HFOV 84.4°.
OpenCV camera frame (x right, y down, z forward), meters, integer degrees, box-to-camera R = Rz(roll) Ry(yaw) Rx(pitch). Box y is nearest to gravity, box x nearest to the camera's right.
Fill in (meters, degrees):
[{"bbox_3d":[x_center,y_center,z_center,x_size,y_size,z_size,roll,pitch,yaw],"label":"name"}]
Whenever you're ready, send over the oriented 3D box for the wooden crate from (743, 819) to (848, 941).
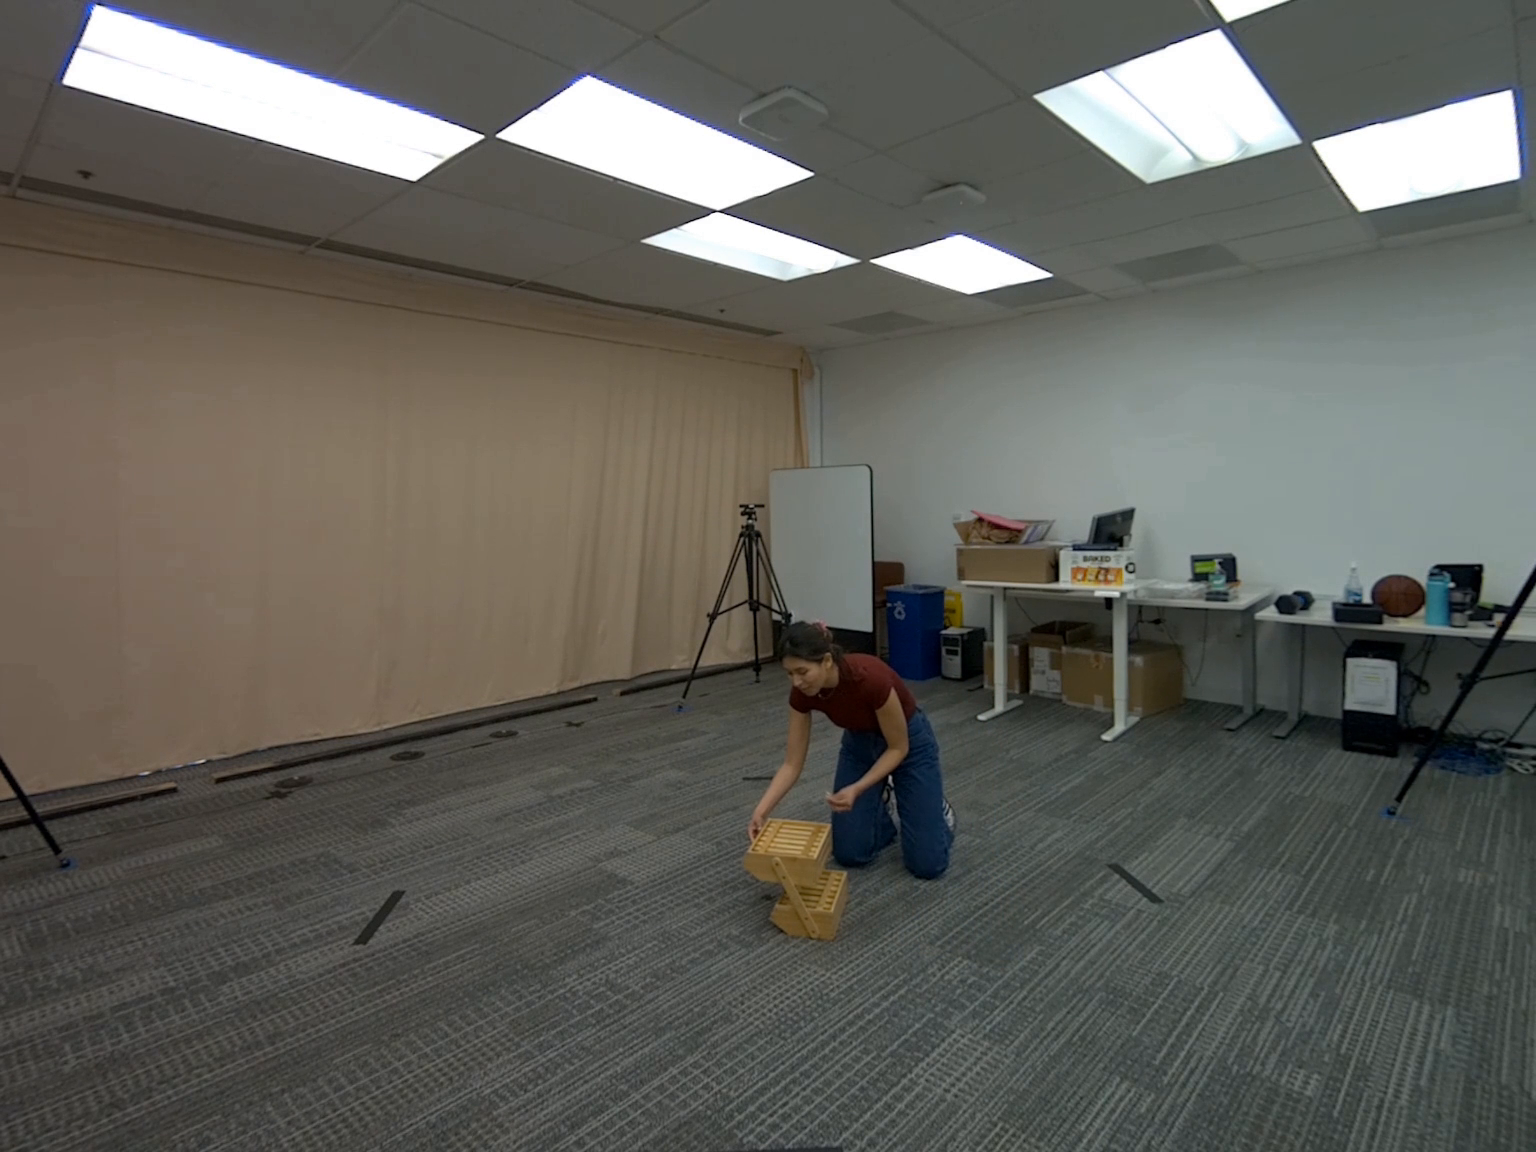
[{"bbox_3d":[0.102,1.022,2.859,0.307,0.272,0.320,-1,4,15],"label":"wooden crate"}]
